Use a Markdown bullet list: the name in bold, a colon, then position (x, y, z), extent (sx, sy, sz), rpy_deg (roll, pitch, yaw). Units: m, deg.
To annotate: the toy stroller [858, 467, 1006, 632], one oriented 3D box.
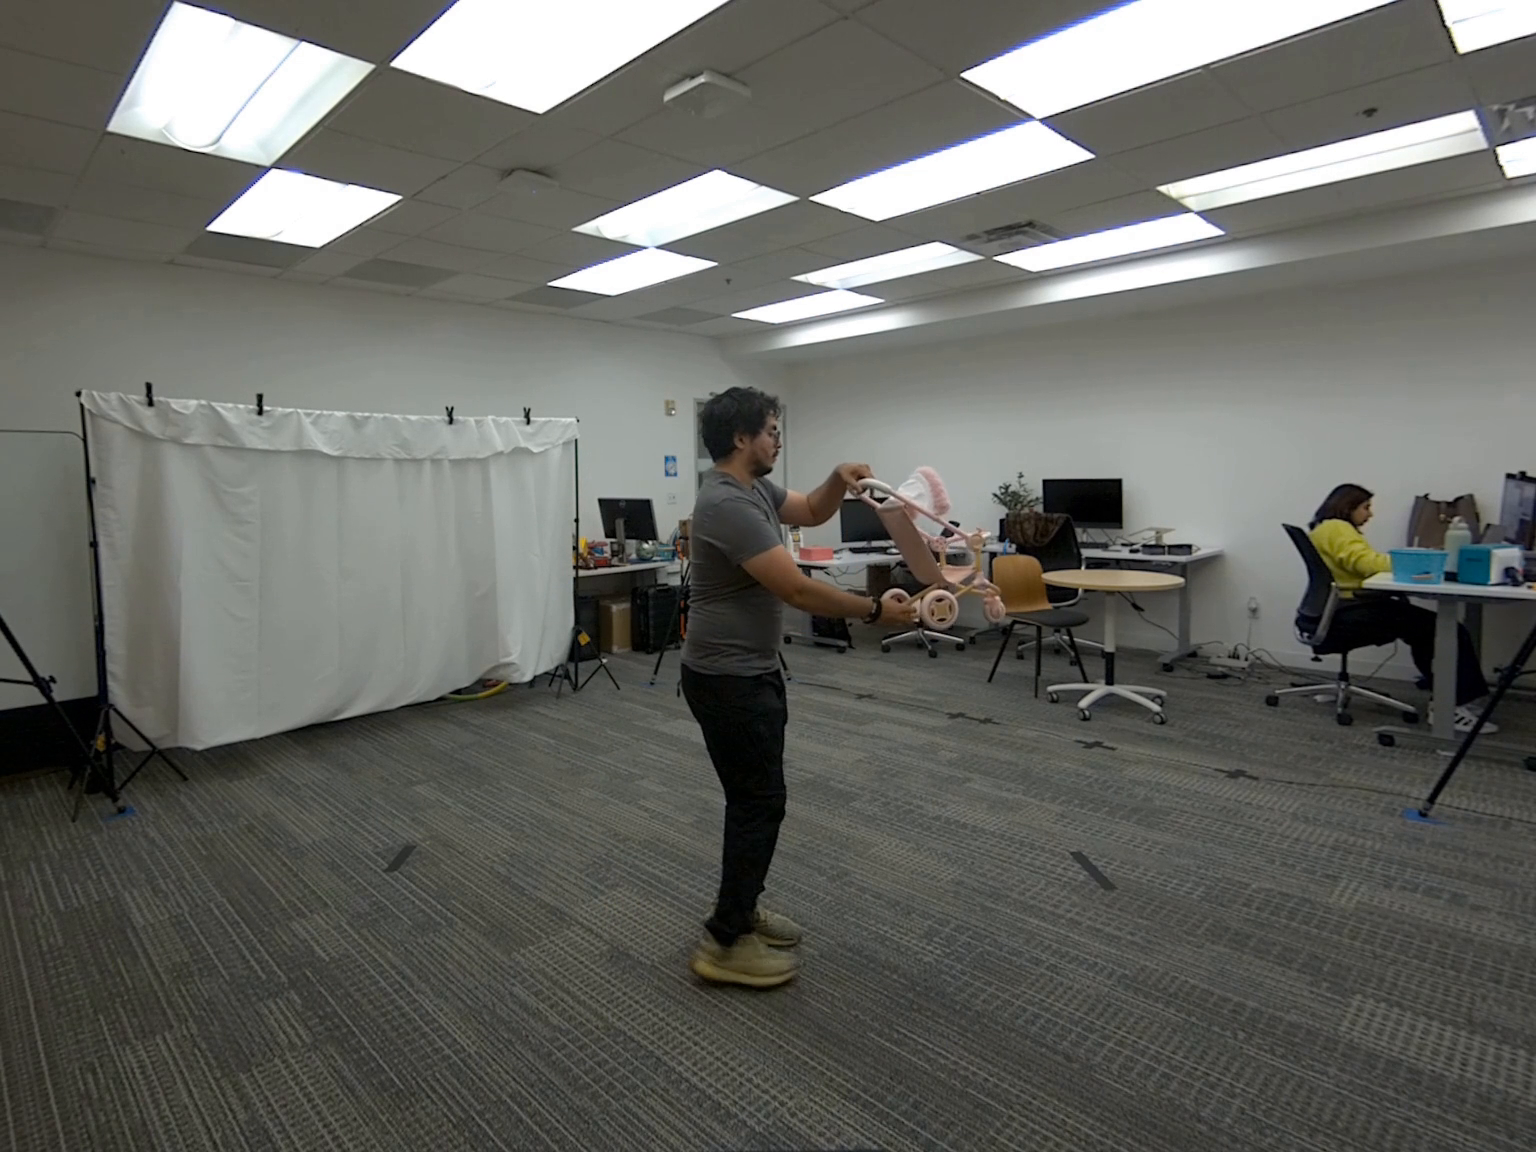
- **toy stroller**: position (0.487, -0.070, 2.459), extent (0.339, 0.533, 0.284), rpy_deg (-18, 3, -12)
